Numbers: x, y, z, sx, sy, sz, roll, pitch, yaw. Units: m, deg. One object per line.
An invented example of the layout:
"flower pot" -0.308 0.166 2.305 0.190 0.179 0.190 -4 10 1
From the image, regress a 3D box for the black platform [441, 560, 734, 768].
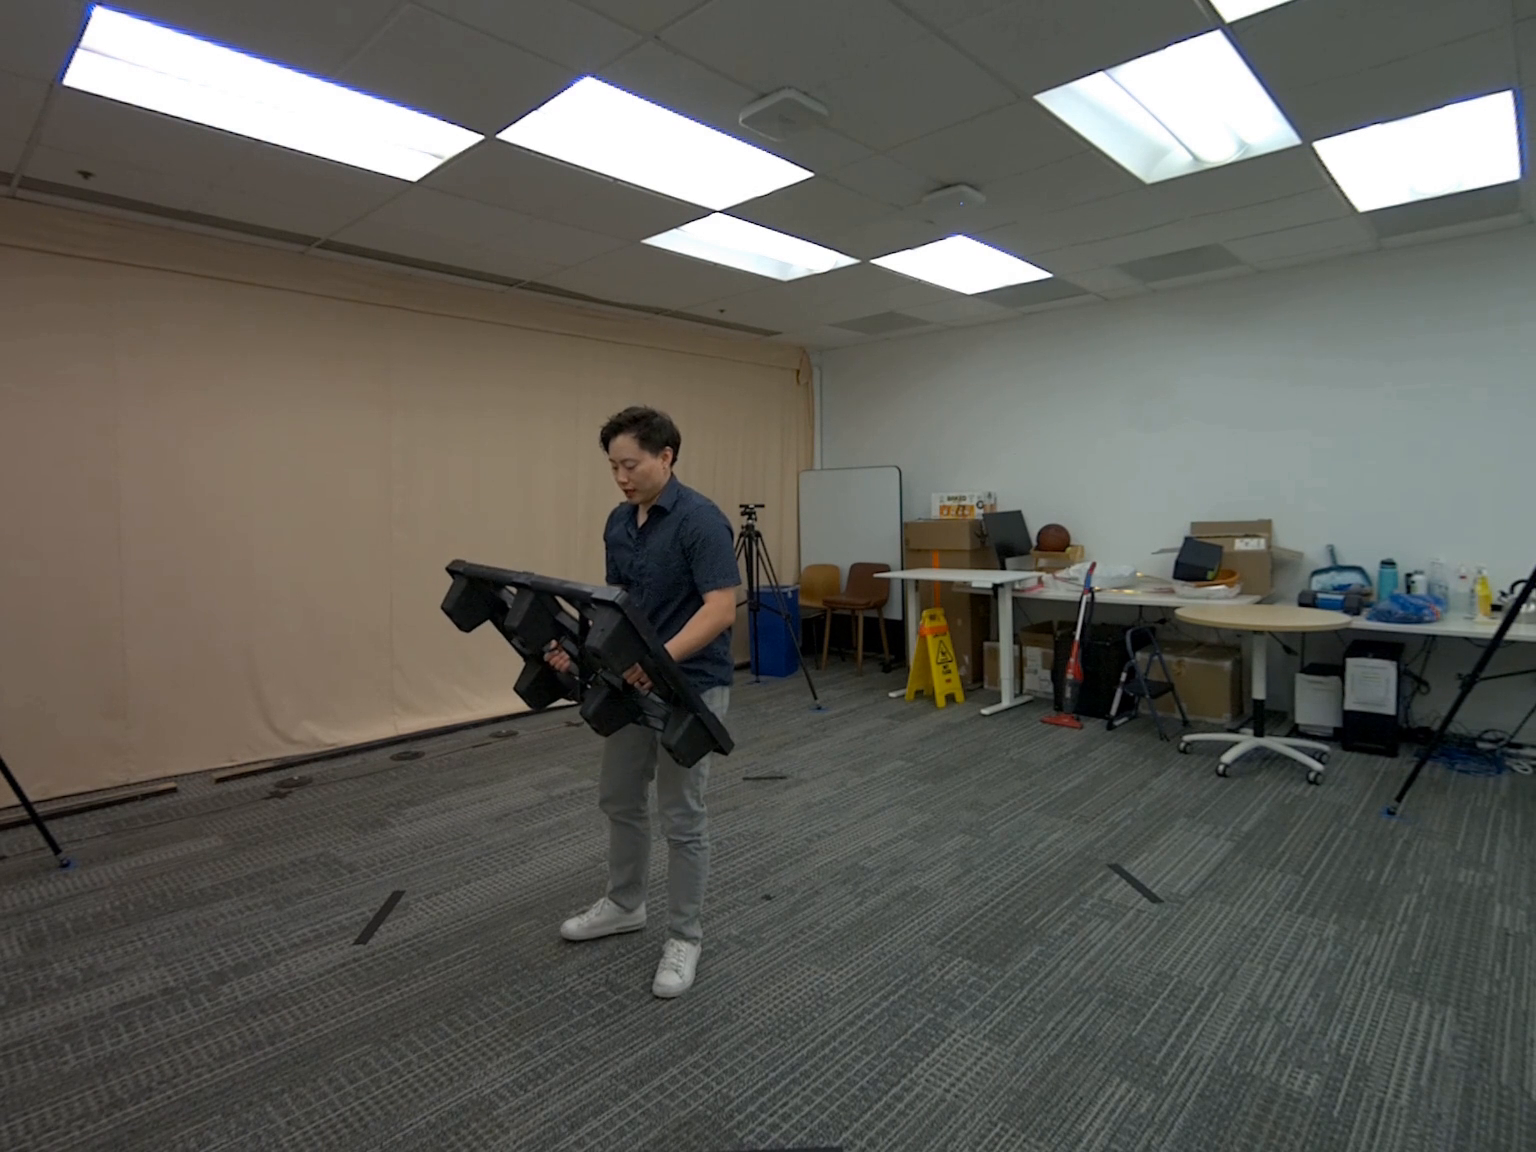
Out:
"black platform" -0.546 0.247 2.307 0.833 0.587 0.142 8 48 43
